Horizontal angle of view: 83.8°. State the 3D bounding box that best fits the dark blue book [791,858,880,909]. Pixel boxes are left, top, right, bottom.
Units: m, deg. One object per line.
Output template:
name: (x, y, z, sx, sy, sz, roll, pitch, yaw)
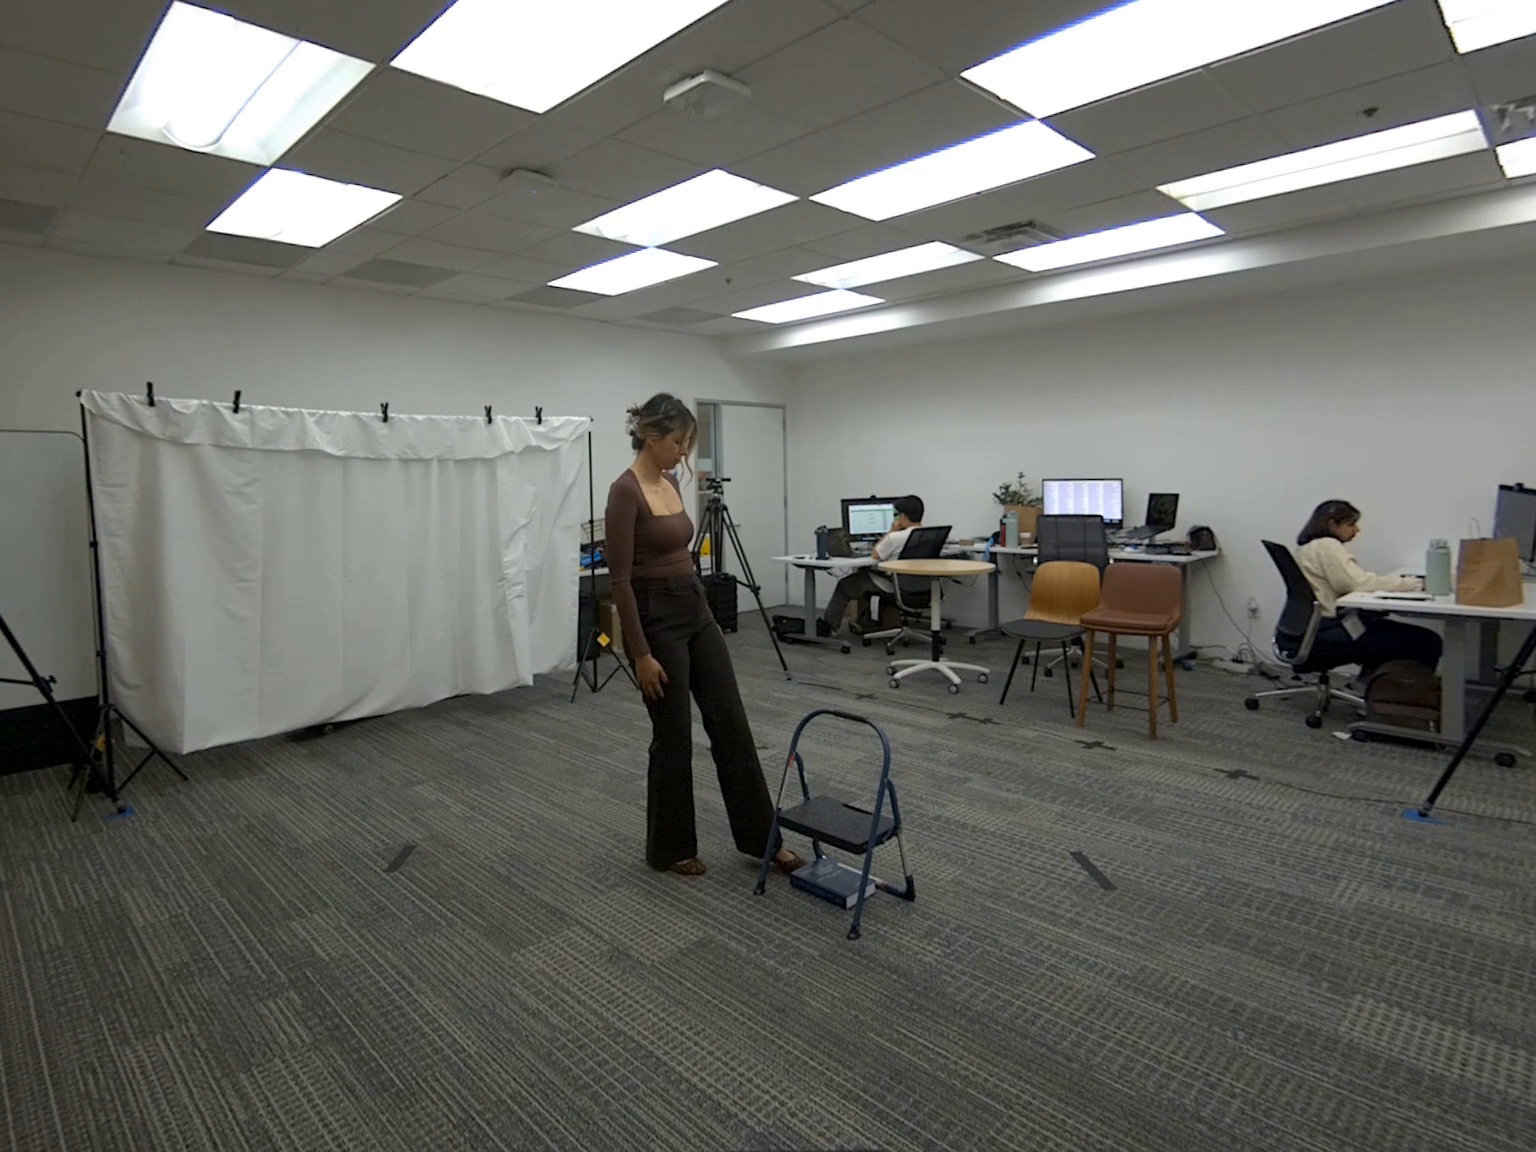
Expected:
dark blue book: (0.218, 1.039, 2.891, 0.253, 0.045, 0.159, 5, 9, 44)
